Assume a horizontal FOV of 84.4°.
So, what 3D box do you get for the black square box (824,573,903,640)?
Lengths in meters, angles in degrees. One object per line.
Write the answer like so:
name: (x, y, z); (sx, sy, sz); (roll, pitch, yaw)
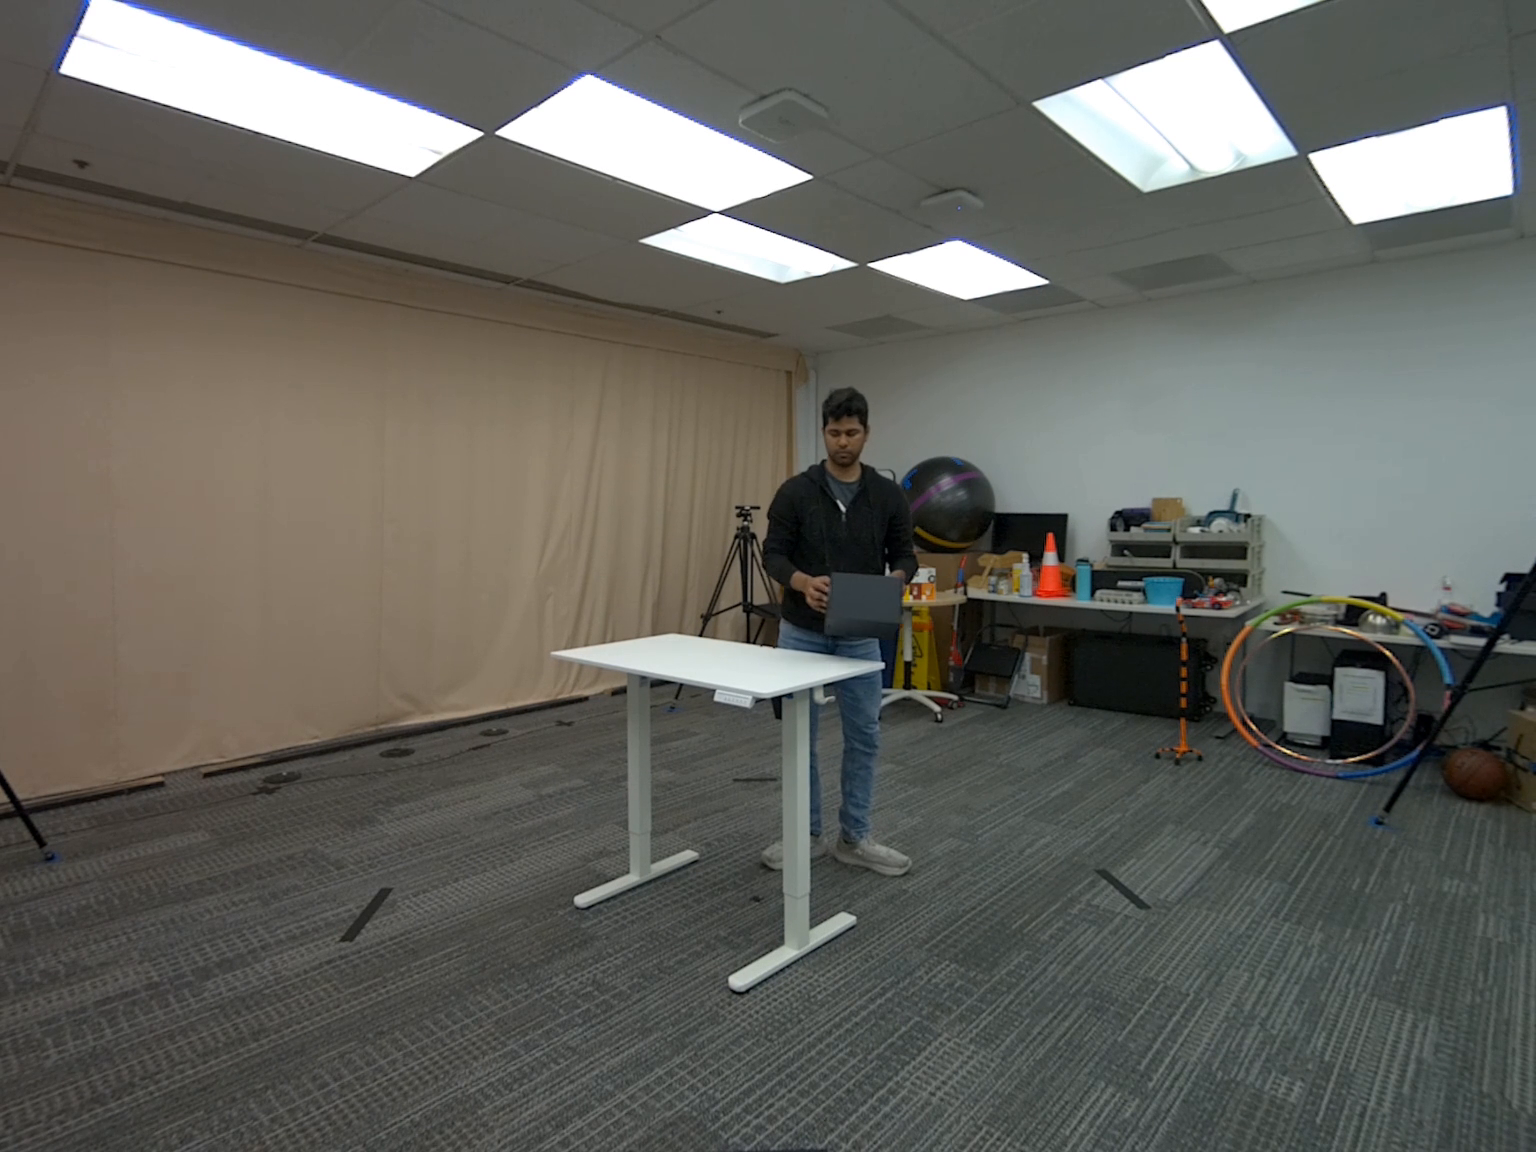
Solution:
black square box: (0.309, 0.107, 2.789); (0.228, 0.157, 0.215); (6, -16, 1)
